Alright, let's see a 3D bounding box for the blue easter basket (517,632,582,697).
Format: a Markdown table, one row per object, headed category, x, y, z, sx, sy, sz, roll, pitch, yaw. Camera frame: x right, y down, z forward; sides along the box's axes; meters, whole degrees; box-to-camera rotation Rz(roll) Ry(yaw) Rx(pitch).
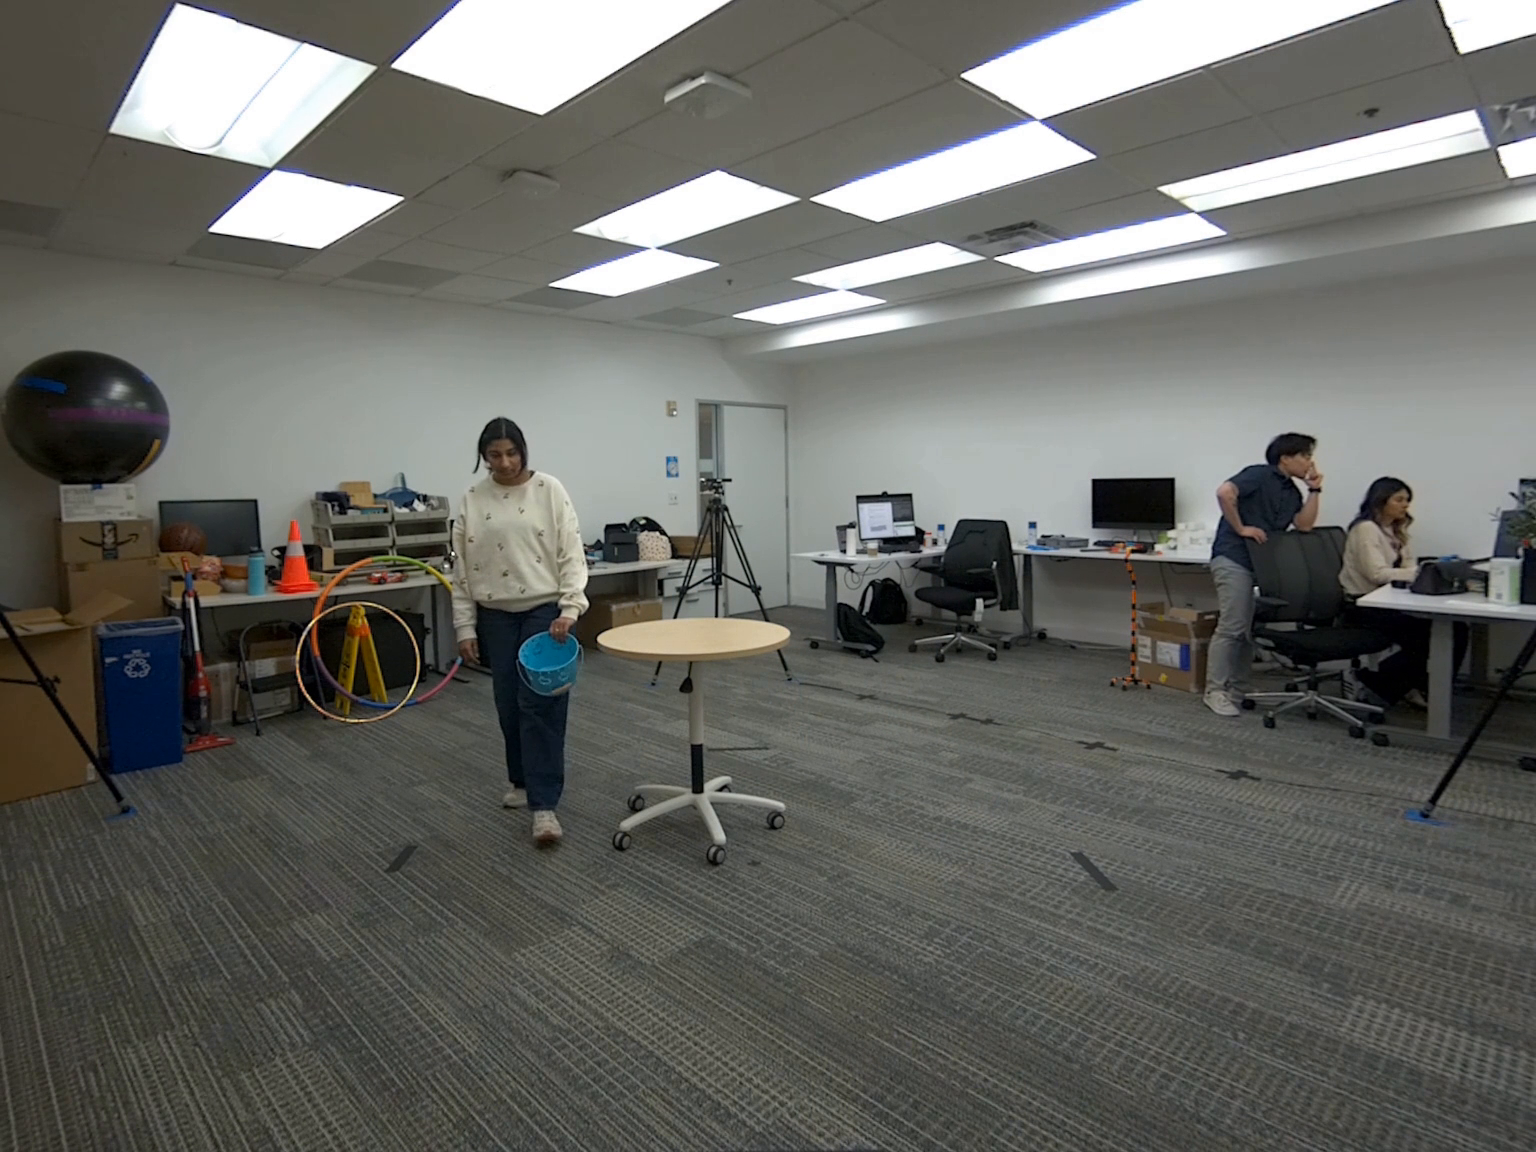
| category | x | y | z | sx | sy | sz | roll | pitch | yaw |
| --- | --- | --- | --- | --- | --- | --- | --- | --- | --- |
| blue easter basket | -0.843 | 0.346 | 3.311 | 0.243 | 0.152 | 0.250 | 0 | 32 | -1 |
